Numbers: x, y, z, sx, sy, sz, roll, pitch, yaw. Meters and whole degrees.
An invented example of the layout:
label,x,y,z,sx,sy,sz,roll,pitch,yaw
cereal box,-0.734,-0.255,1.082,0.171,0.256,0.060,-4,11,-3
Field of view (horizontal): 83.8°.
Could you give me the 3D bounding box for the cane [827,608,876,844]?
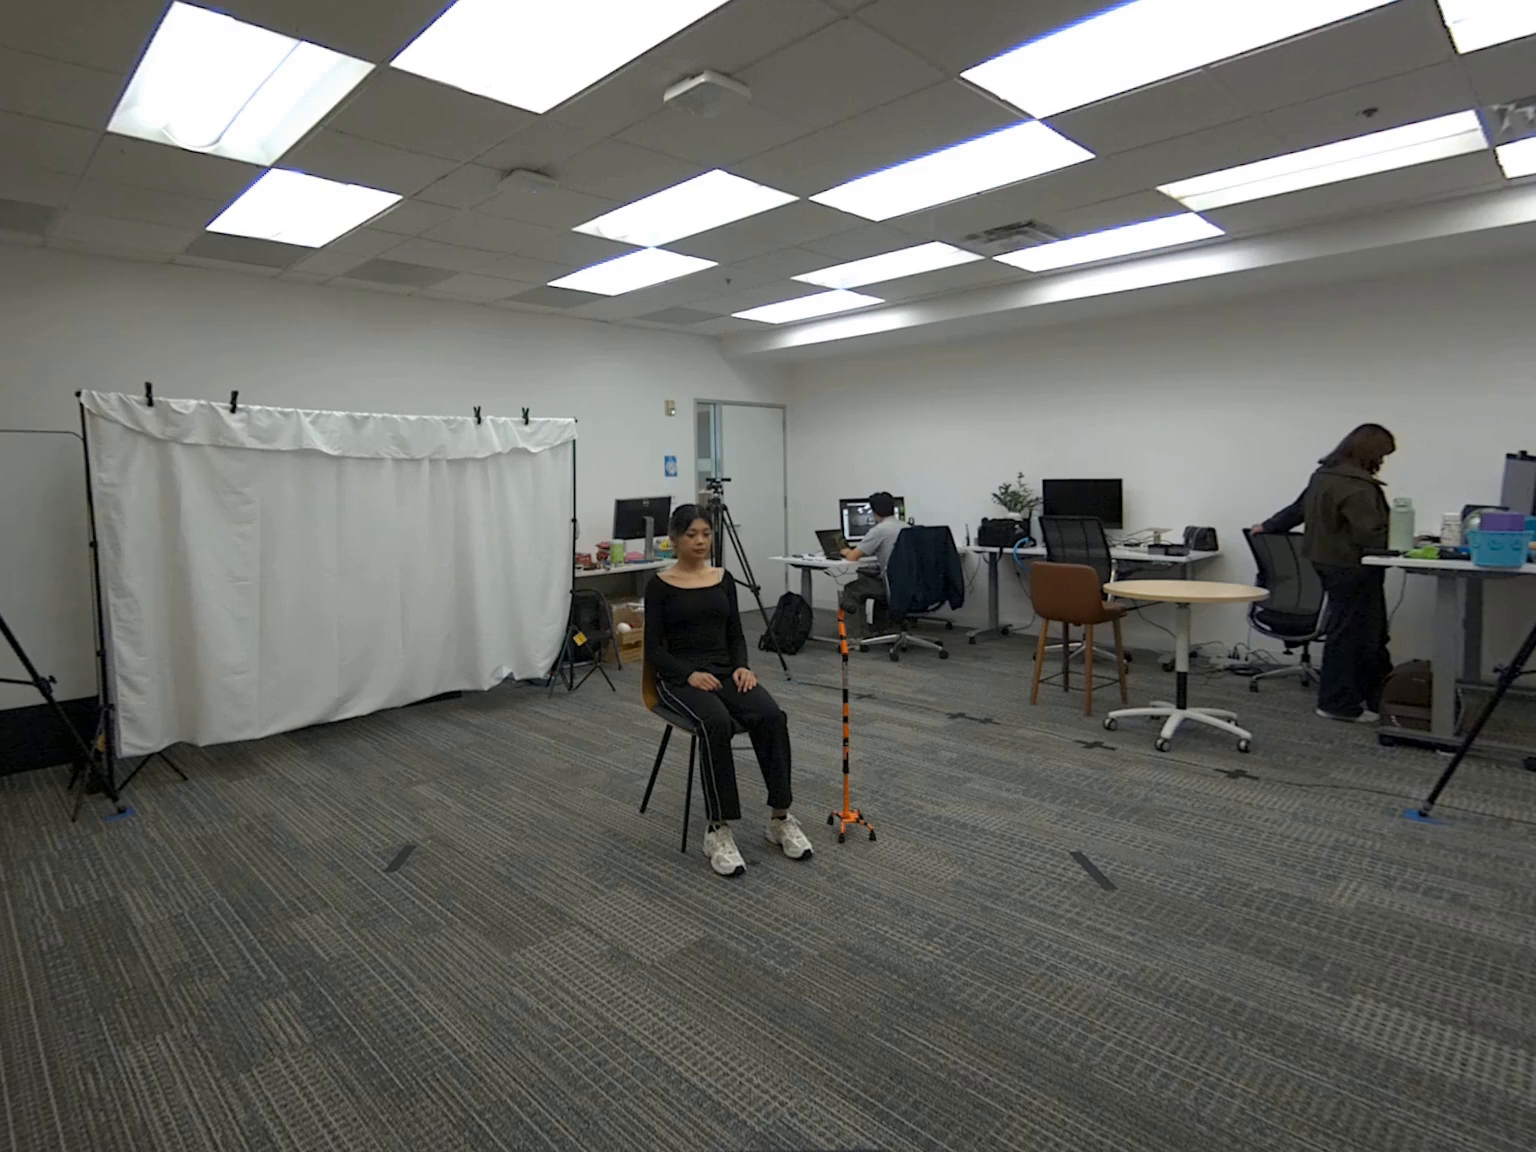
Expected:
label,x,y,z,sx,sy,sz,roll,pitch,yaw
cane,0.315,0.551,3.338,0.150,0.905,0.209,0,4,-9
